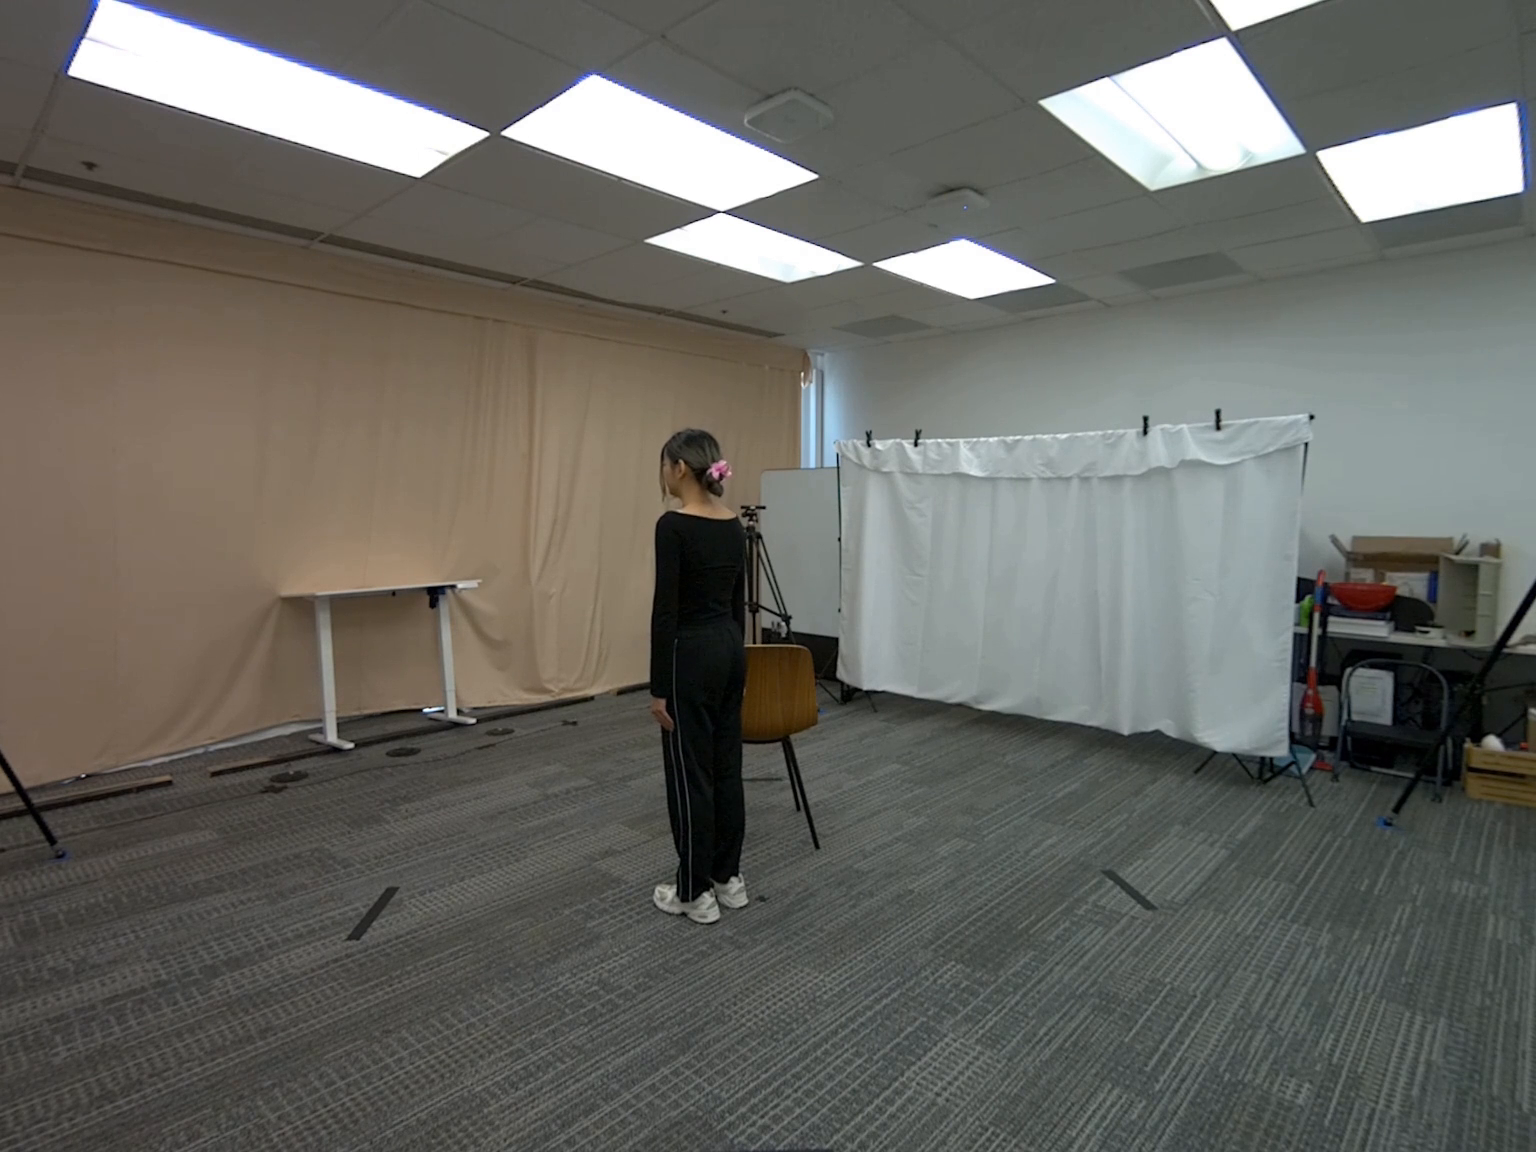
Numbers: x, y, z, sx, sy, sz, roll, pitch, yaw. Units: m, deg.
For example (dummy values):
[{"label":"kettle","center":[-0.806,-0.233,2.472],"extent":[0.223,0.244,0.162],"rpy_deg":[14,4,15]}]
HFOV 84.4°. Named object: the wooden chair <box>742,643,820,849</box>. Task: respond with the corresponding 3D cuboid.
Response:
[{"label":"wooden chair","center":[-0.044,0.667,3.597],"extent":[0.475,0.874,0.528],"rpy_deg":[-1,6,-6]}]
